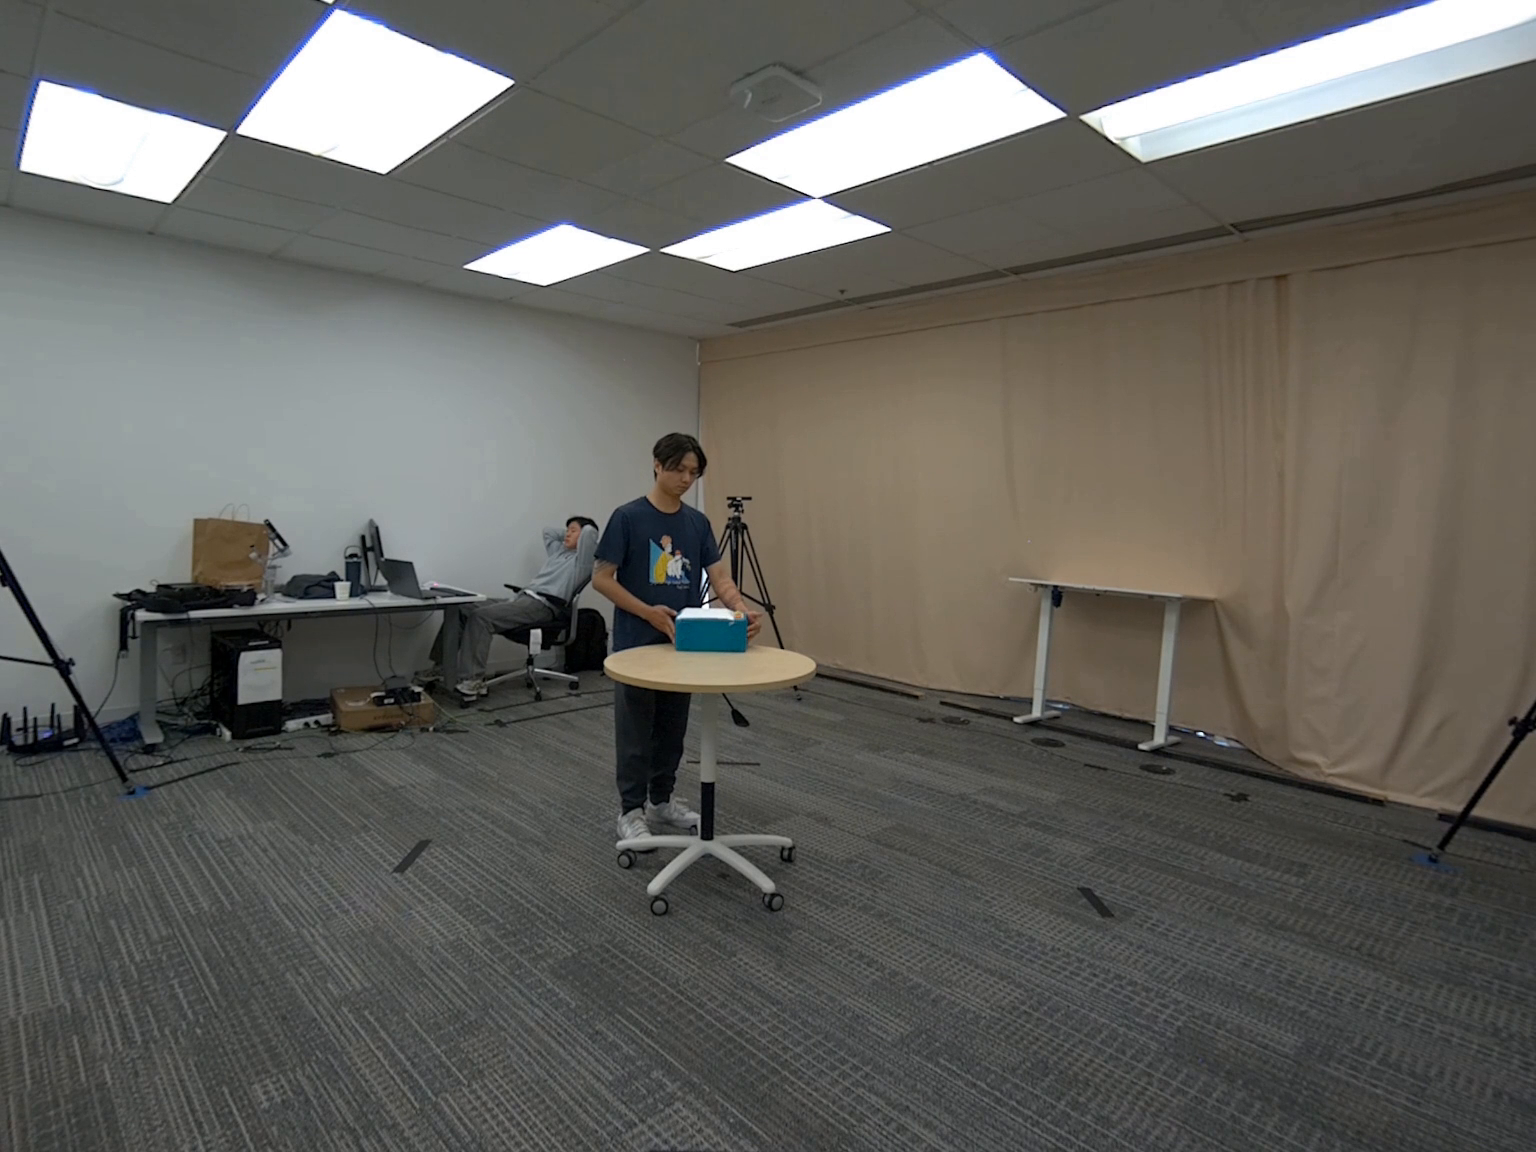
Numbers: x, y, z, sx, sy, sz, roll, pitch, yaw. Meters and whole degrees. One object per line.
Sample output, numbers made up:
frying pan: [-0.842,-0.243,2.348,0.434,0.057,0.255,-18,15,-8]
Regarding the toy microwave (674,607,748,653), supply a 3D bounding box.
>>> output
toy microwave: [-0.239,0.213,3.314,0.287,0.151,0.185,1,8,2]
